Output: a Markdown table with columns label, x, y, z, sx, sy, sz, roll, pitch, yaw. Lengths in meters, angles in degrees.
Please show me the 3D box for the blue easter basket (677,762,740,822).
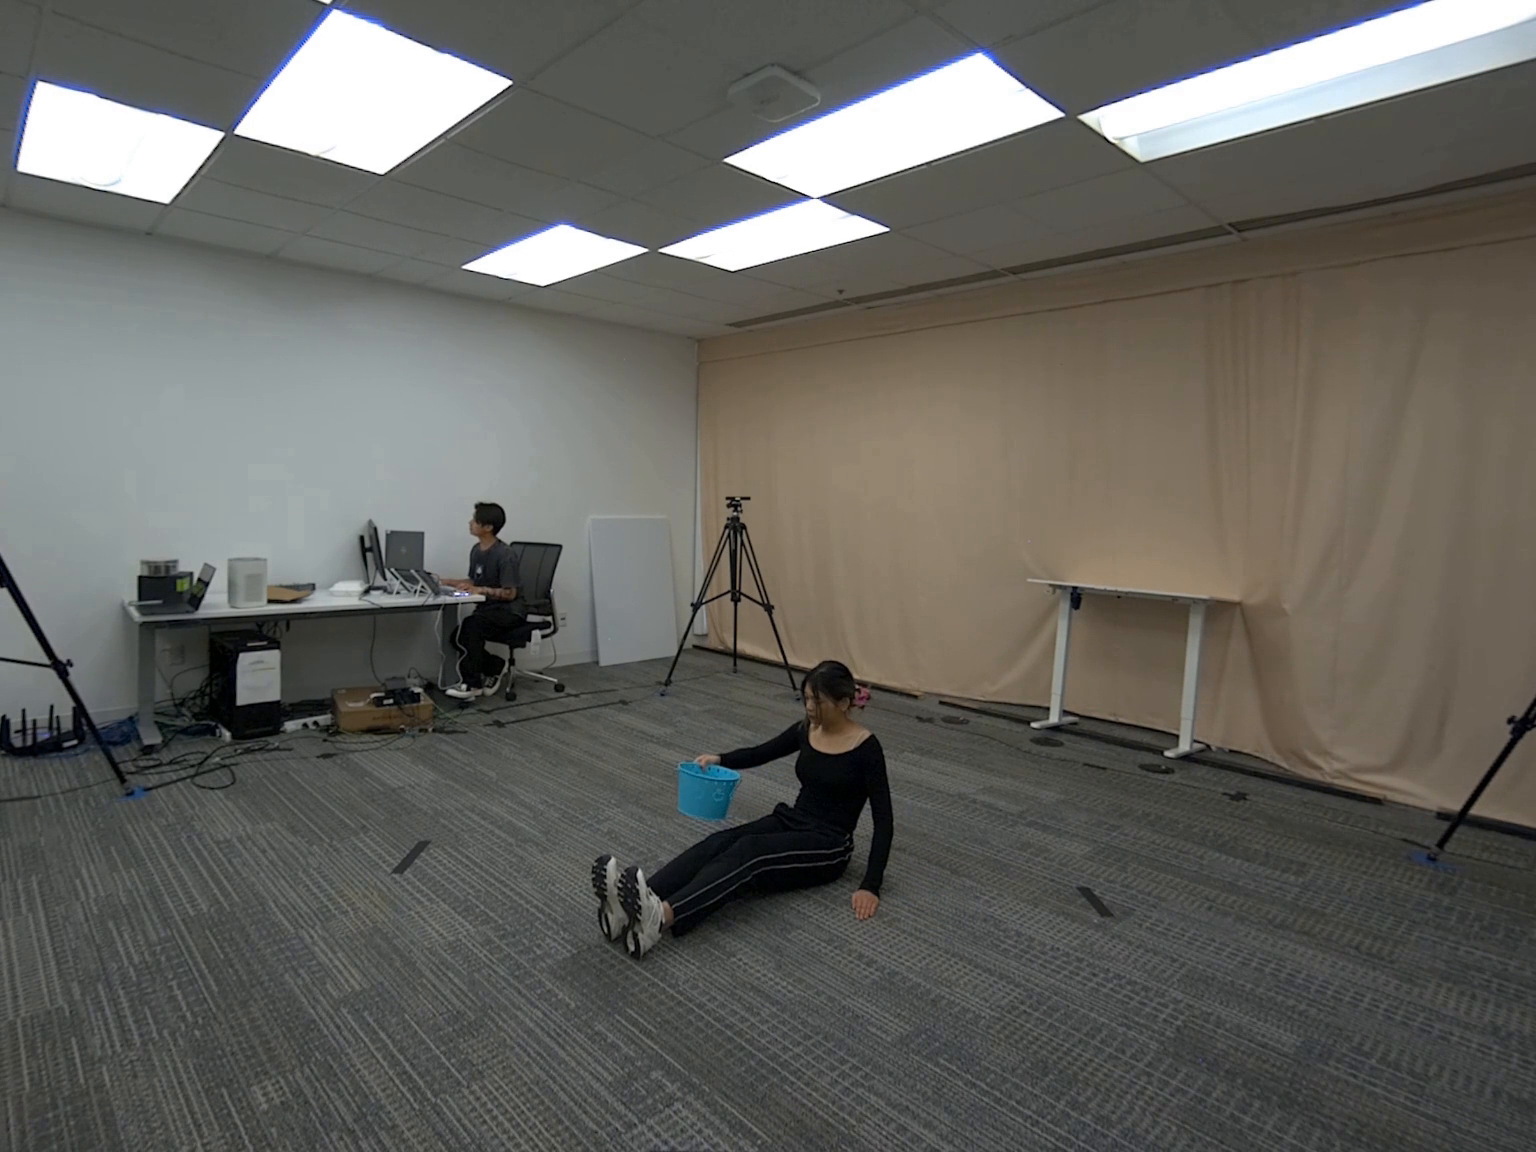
| label | x | y | z | sx | sy | sz | roll | pitch | yaw |
| --- | --- | --- | --- | --- | --- | --- | --- | --- | --- |
| blue easter basket | -0.228 | 0.793 | 3.069 | 0.243 | 0.156 | 0.243 | 10 | -2 | -1 |
